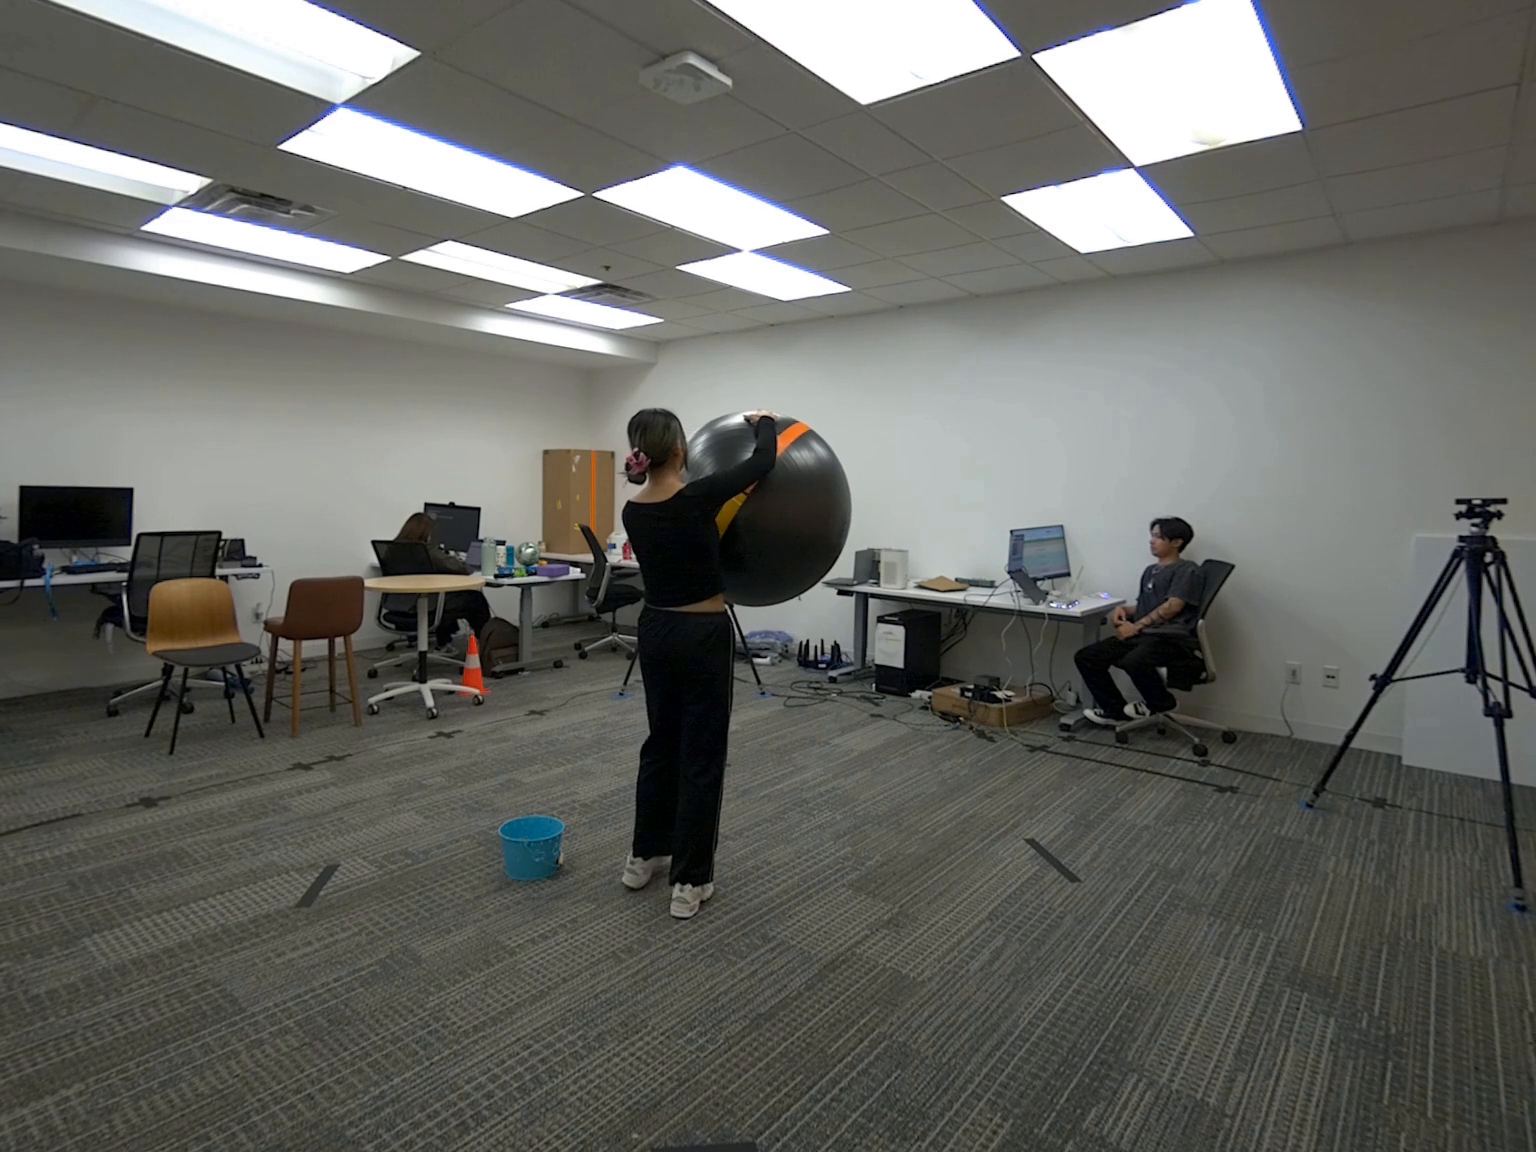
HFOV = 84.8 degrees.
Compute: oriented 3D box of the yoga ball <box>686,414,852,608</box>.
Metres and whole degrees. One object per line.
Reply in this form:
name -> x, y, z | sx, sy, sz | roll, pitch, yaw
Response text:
yoga ball -> -0.061, -0.261, 3.315 | 0.757, 0.755, 0.762 | 1, 4, -2
